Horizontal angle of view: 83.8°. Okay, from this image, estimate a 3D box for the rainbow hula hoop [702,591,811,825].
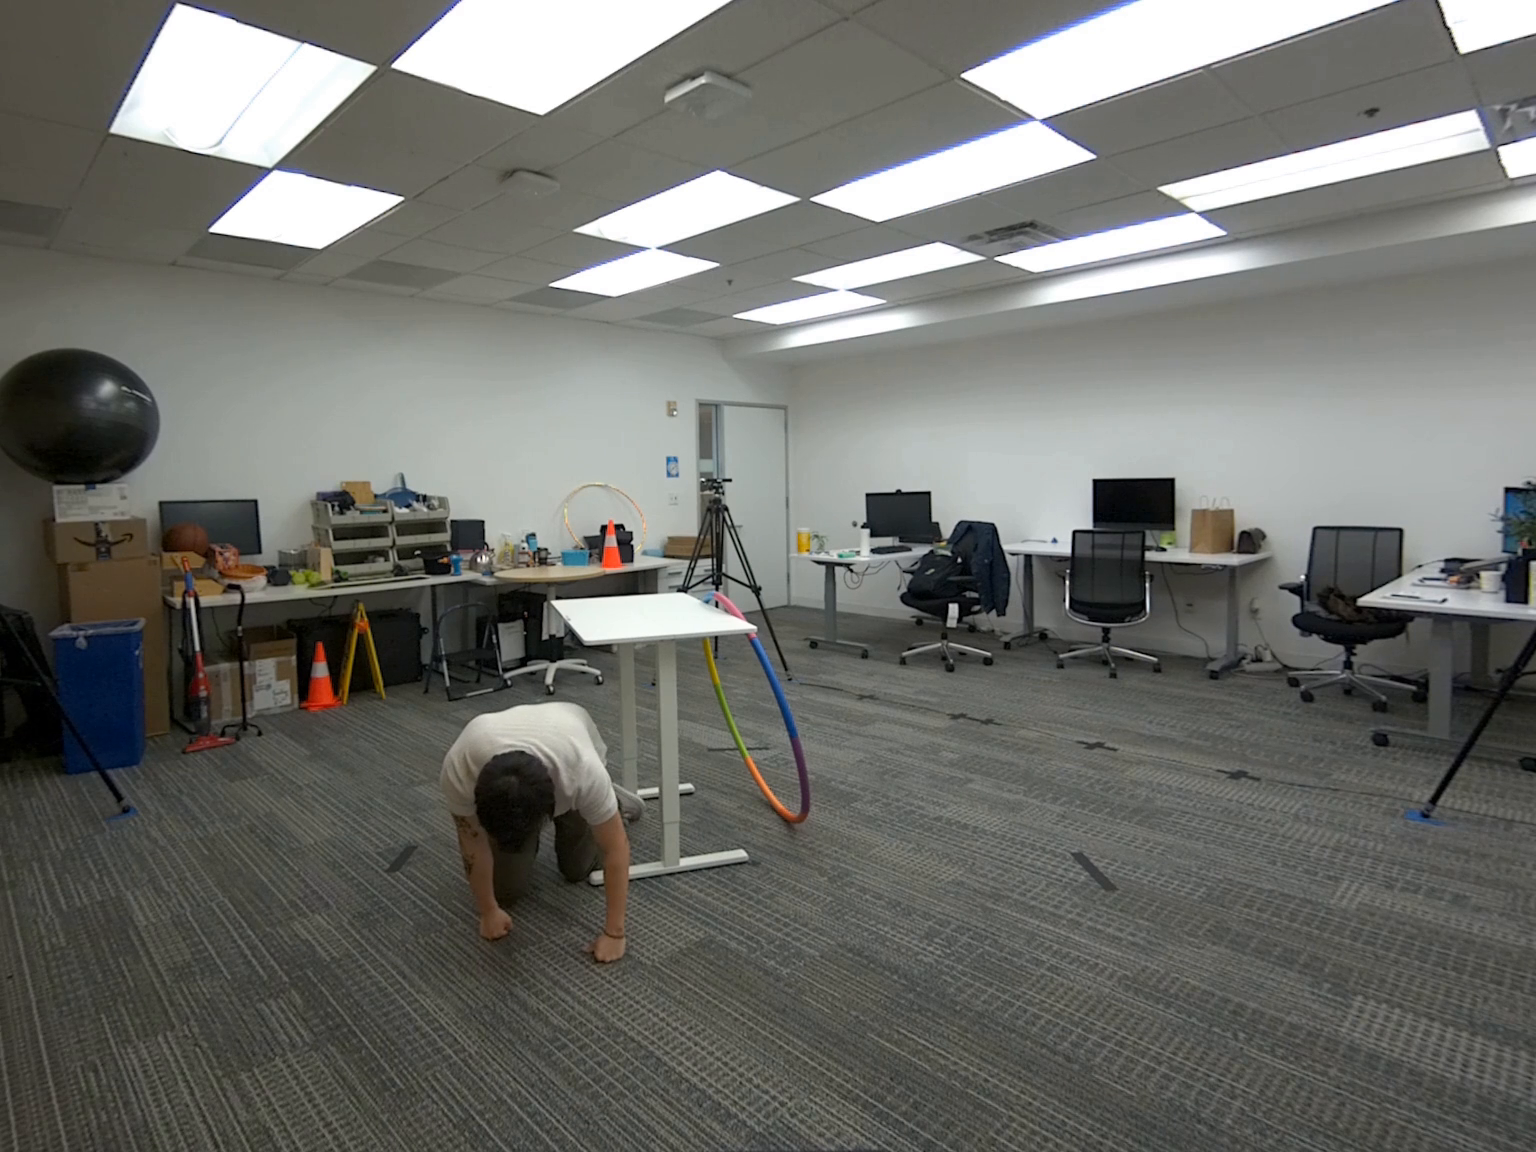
[{"bbox_3d":[-0.065,0.533,3.496,0.035,0.969,0.999,-19,10,-17],"label":"rainbow hula hoop"}]
